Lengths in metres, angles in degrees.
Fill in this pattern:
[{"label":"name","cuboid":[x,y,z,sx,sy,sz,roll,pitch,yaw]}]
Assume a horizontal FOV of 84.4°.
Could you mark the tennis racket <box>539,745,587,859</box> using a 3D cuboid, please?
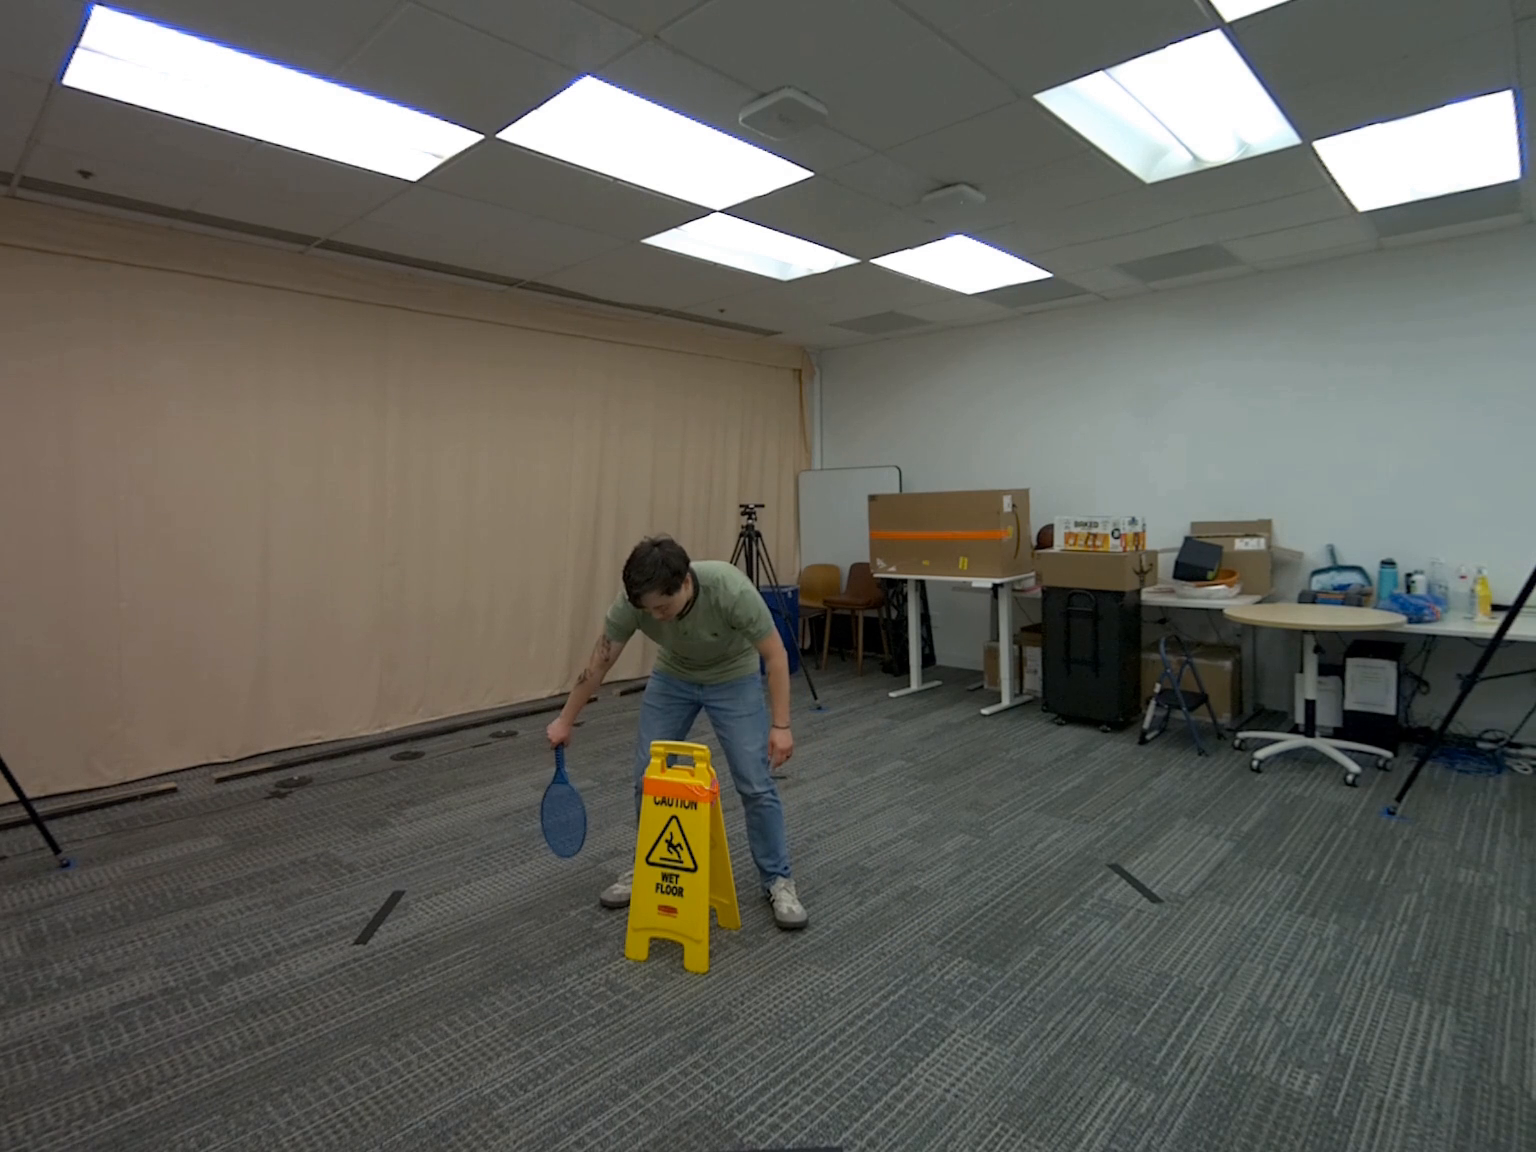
[{"label":"tennis racket","cuboid":[-0.711,0.777,2.961,0.219,0.434,0.031,-7,-6,31]}]
